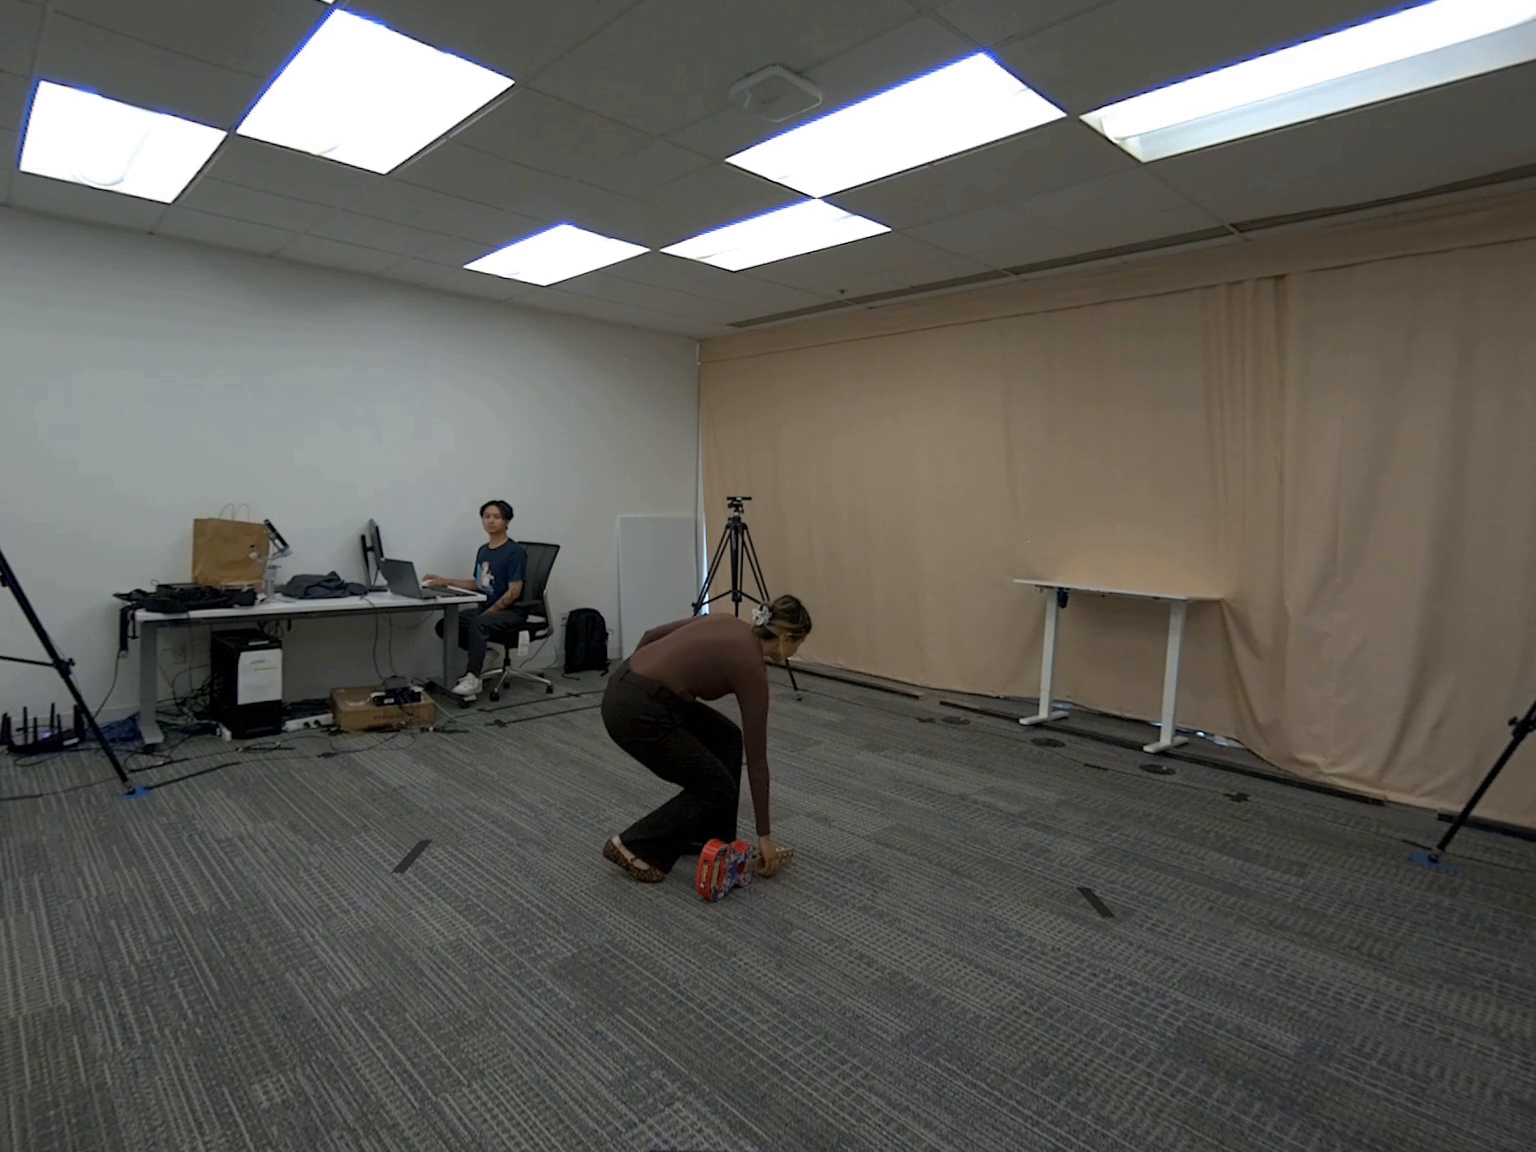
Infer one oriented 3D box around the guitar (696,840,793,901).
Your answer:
[{"bbox_3d":[-0.091,1.070,3.053,0.072,0.194,0.483,6,-12,38],"label":"guitar"}]
